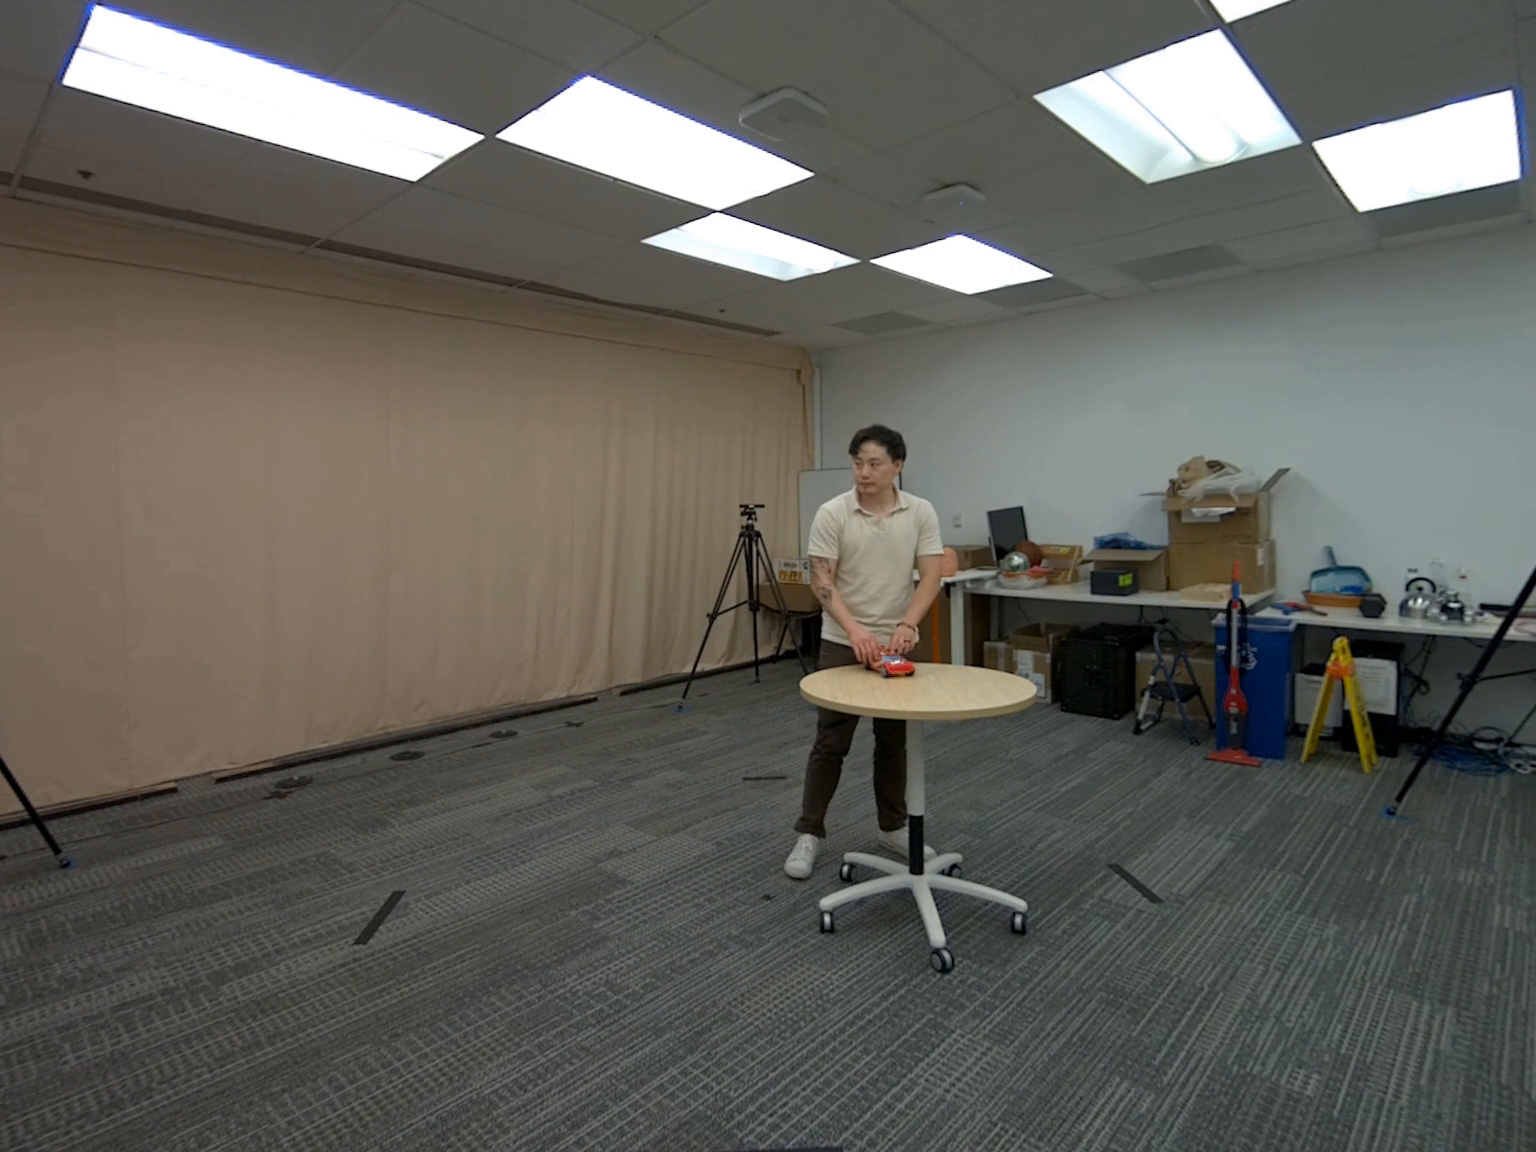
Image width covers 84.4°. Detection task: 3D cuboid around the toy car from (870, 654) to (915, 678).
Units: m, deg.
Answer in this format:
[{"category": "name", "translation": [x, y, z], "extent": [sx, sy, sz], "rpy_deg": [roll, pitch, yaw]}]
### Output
[{"category": "toy car", "translation": [0.425, 0.310, 3.026], "extent": [0.128, 0.082, 0.260], "rpy_deg": [-3, 16, -14]}]
